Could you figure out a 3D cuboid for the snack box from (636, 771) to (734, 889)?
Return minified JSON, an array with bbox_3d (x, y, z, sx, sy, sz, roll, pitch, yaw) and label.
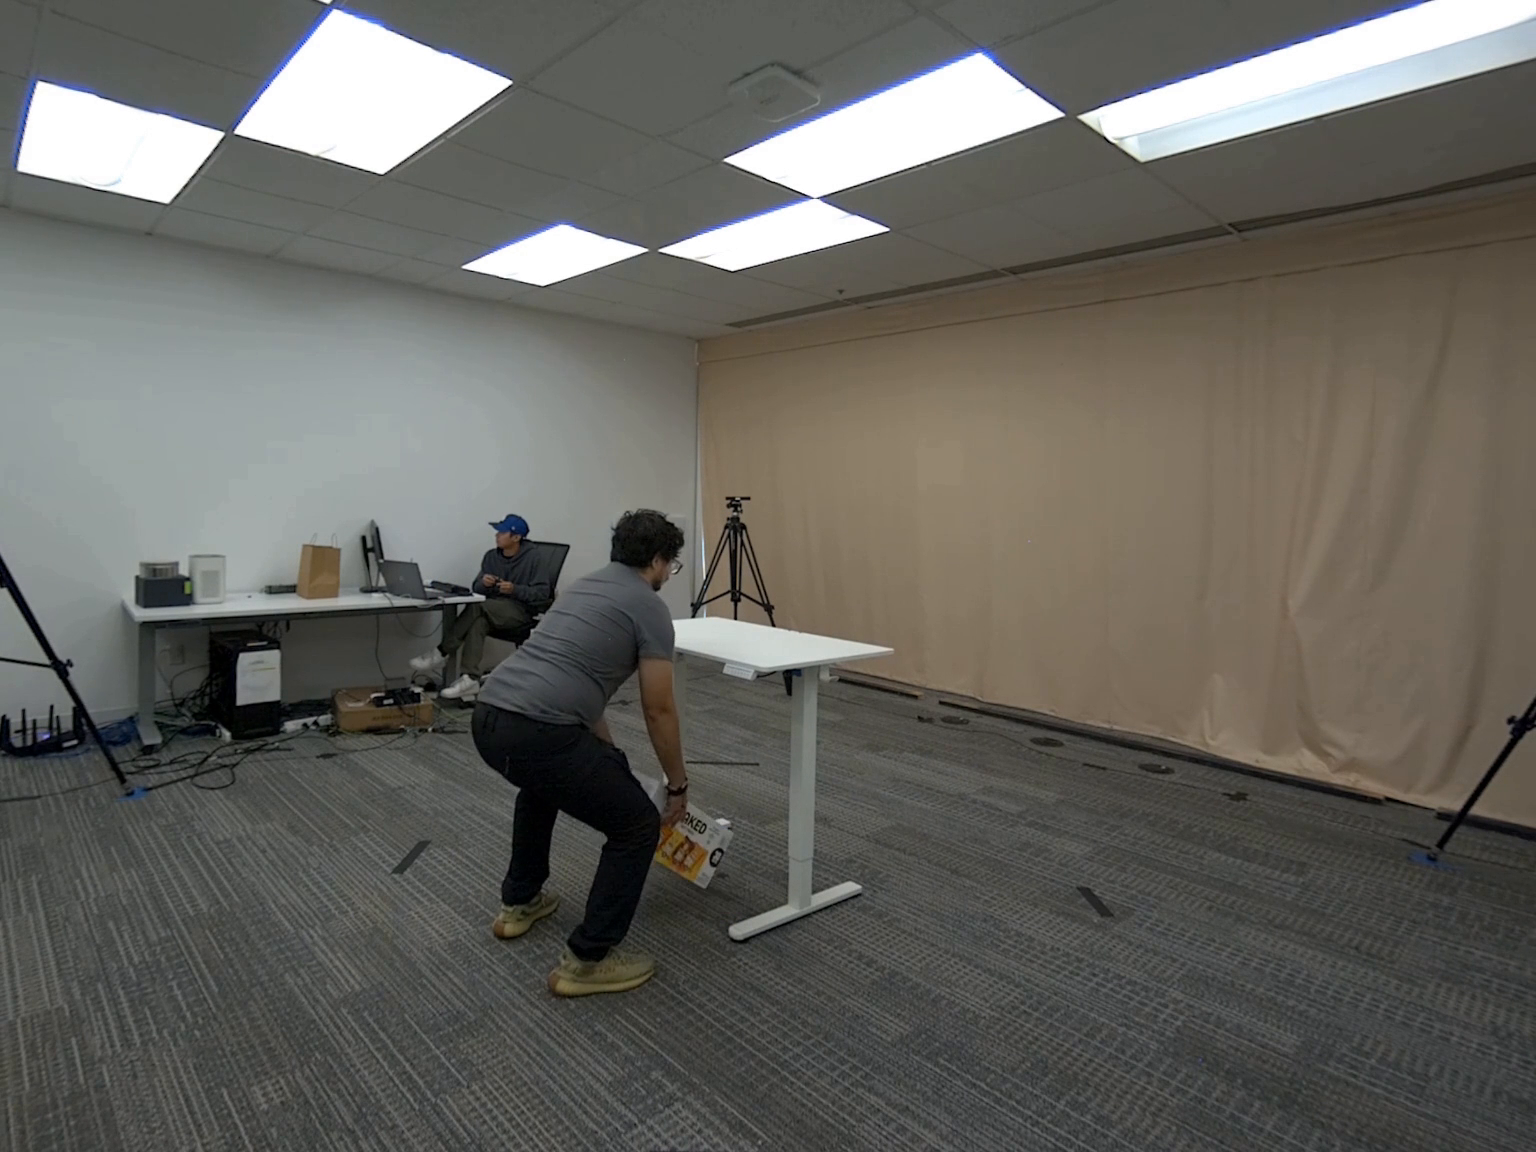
[{"bbox_3d":[-0.390,0.825,2.809,0.349,0.206,0.393,8,-30,47],"label":"snack box"}]
